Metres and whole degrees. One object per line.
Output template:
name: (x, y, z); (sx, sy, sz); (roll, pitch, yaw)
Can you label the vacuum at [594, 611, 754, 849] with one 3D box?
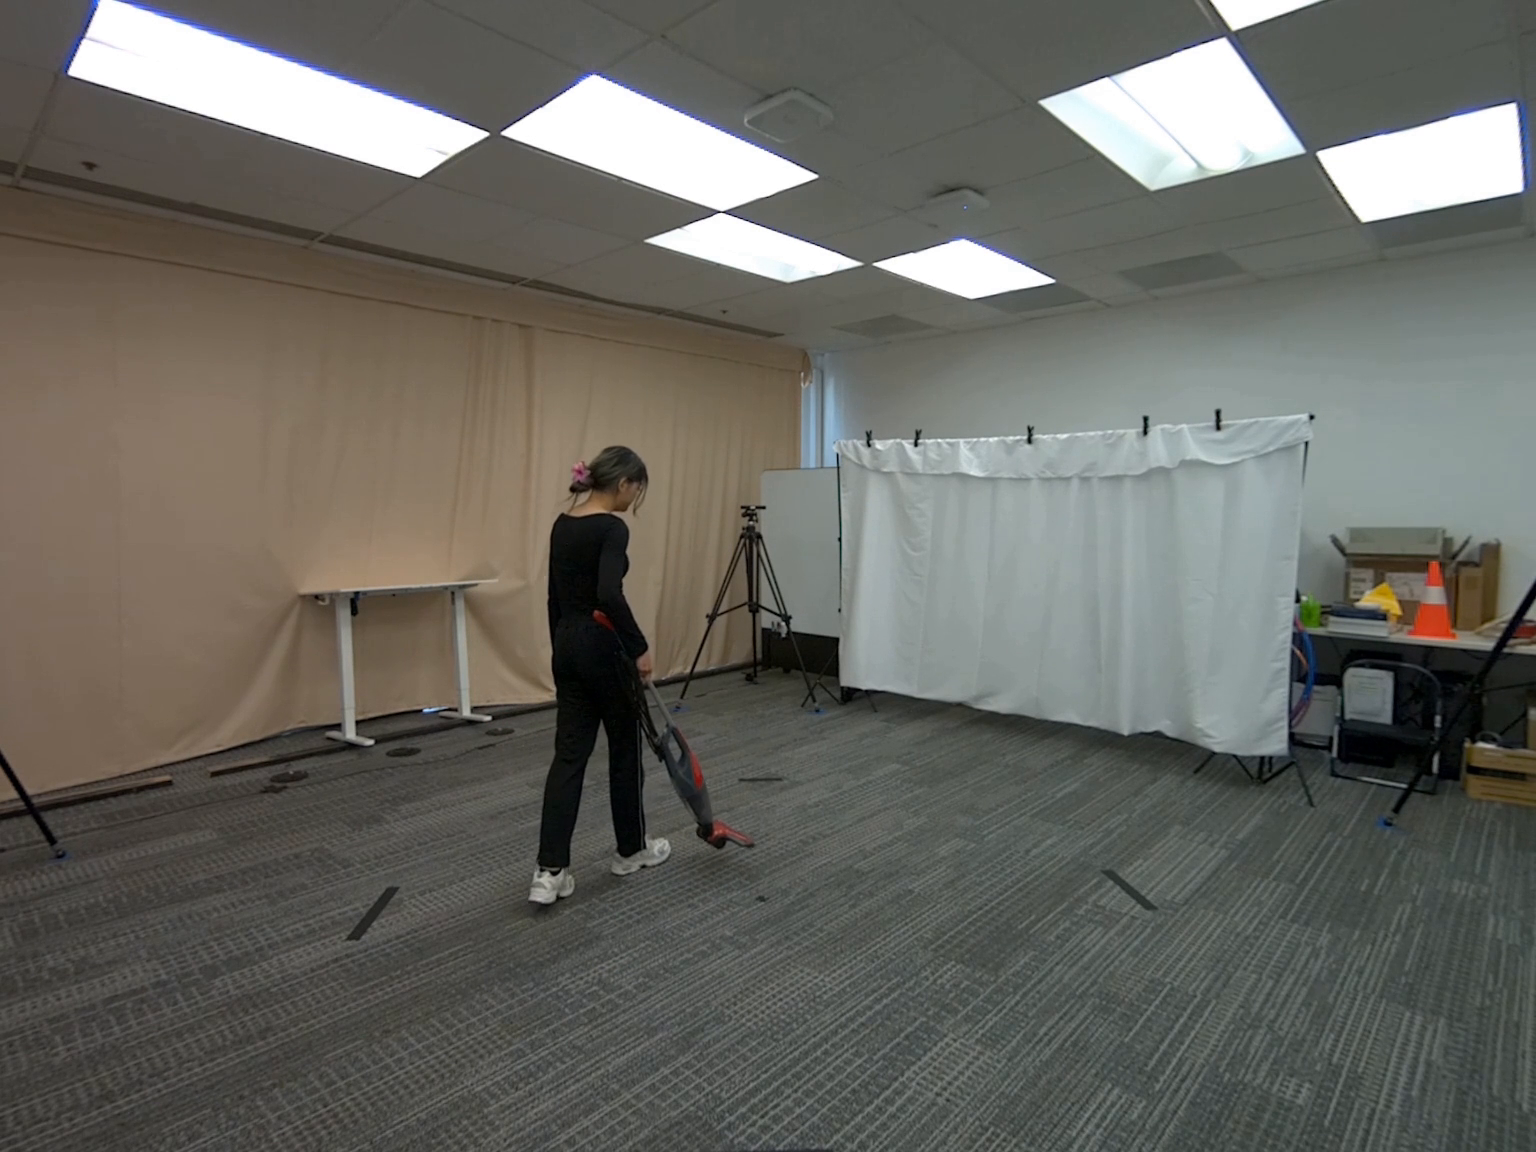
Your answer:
vacuum: (-0.364, 0.580, 3.046); (0.142, 1.028, 0.261); (-37, 25, -30)
